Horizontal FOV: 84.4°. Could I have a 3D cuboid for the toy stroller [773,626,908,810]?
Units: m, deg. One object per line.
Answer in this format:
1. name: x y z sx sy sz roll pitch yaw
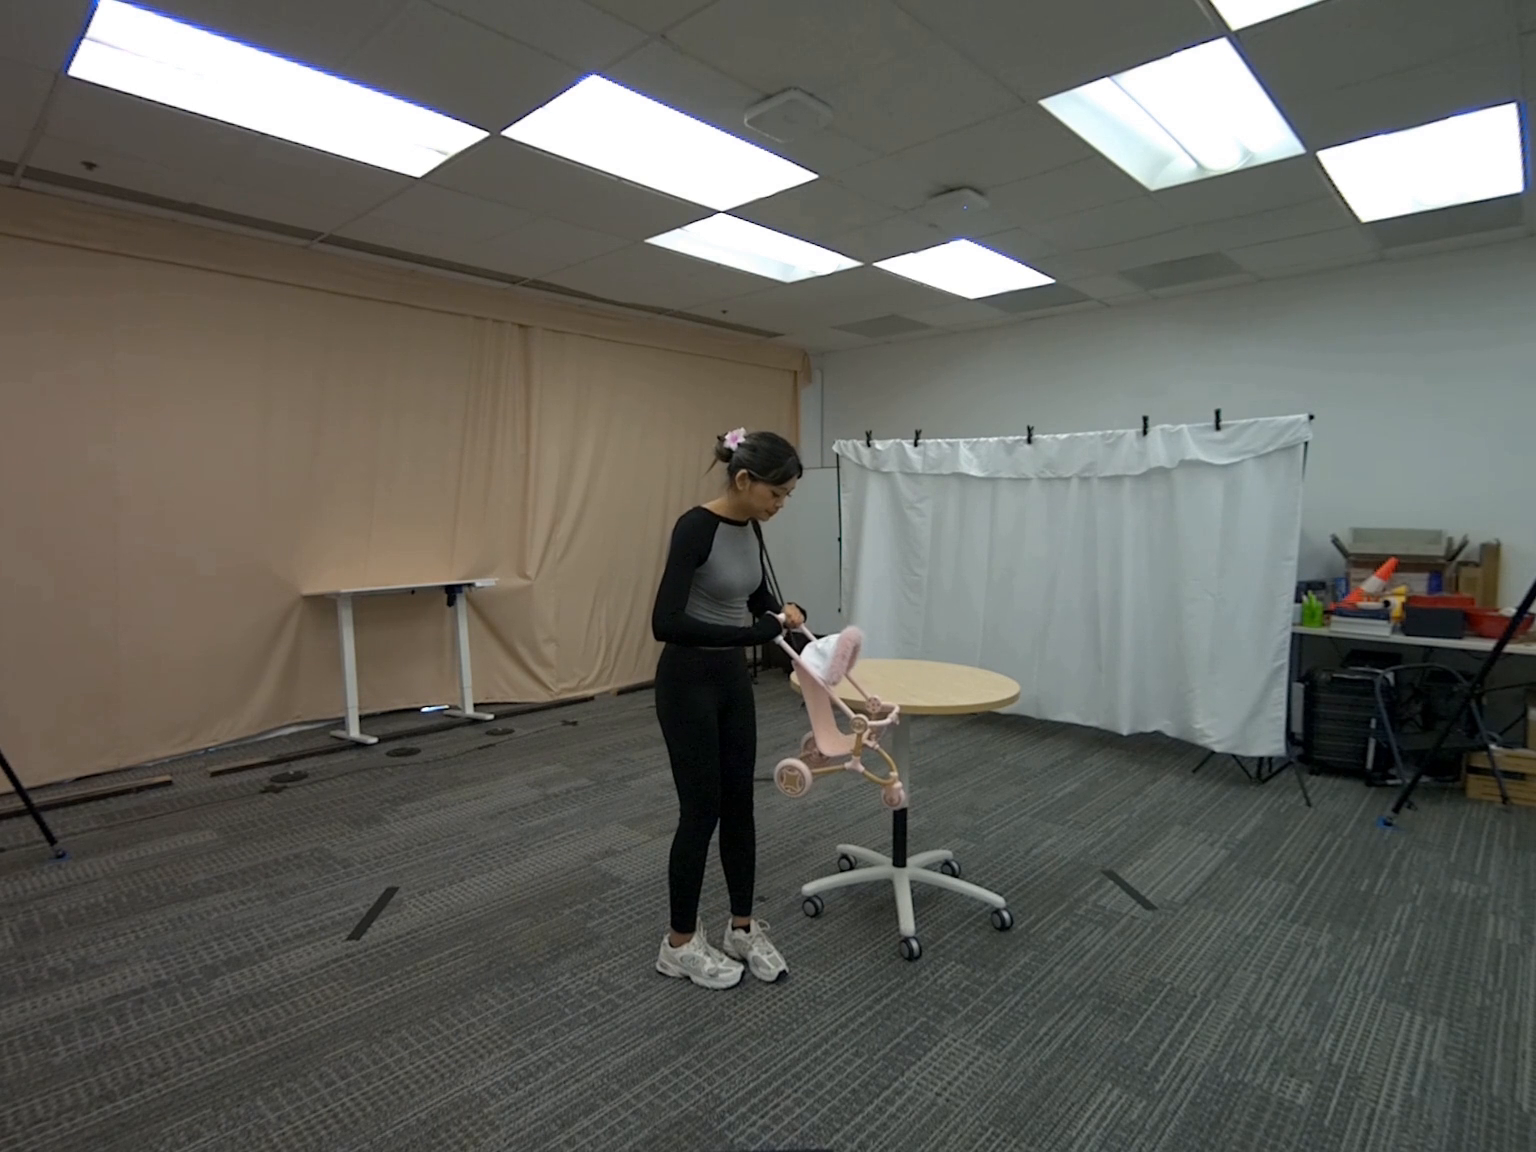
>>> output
1. toy stroller: 0.206 0.374 2.299 0.350 0.533 0.275 -3 4 26
